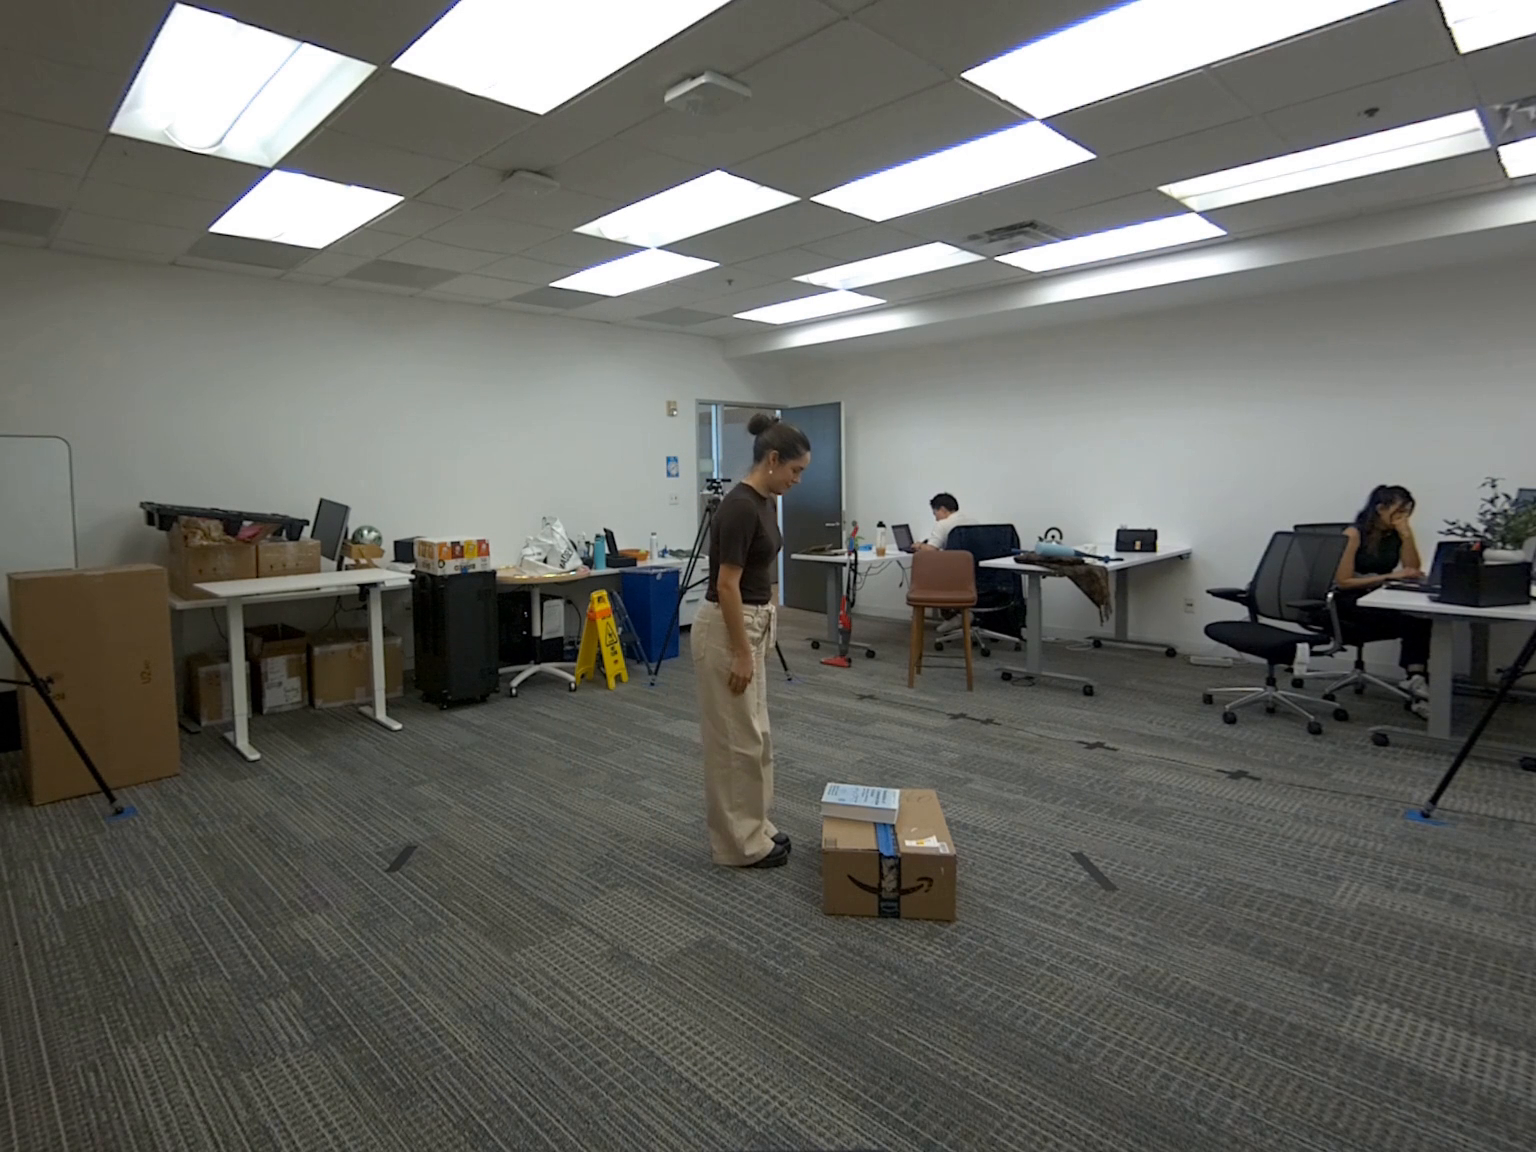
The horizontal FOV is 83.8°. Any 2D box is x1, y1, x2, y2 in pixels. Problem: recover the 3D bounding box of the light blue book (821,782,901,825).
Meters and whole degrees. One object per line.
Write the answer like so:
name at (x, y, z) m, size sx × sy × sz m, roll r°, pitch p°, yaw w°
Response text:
light blue book at (0.330, 0.799, 3.034) m, size 0.265 × 0.059 × 0.190 m, roll 2°, pitch 8°, yaw 14°
